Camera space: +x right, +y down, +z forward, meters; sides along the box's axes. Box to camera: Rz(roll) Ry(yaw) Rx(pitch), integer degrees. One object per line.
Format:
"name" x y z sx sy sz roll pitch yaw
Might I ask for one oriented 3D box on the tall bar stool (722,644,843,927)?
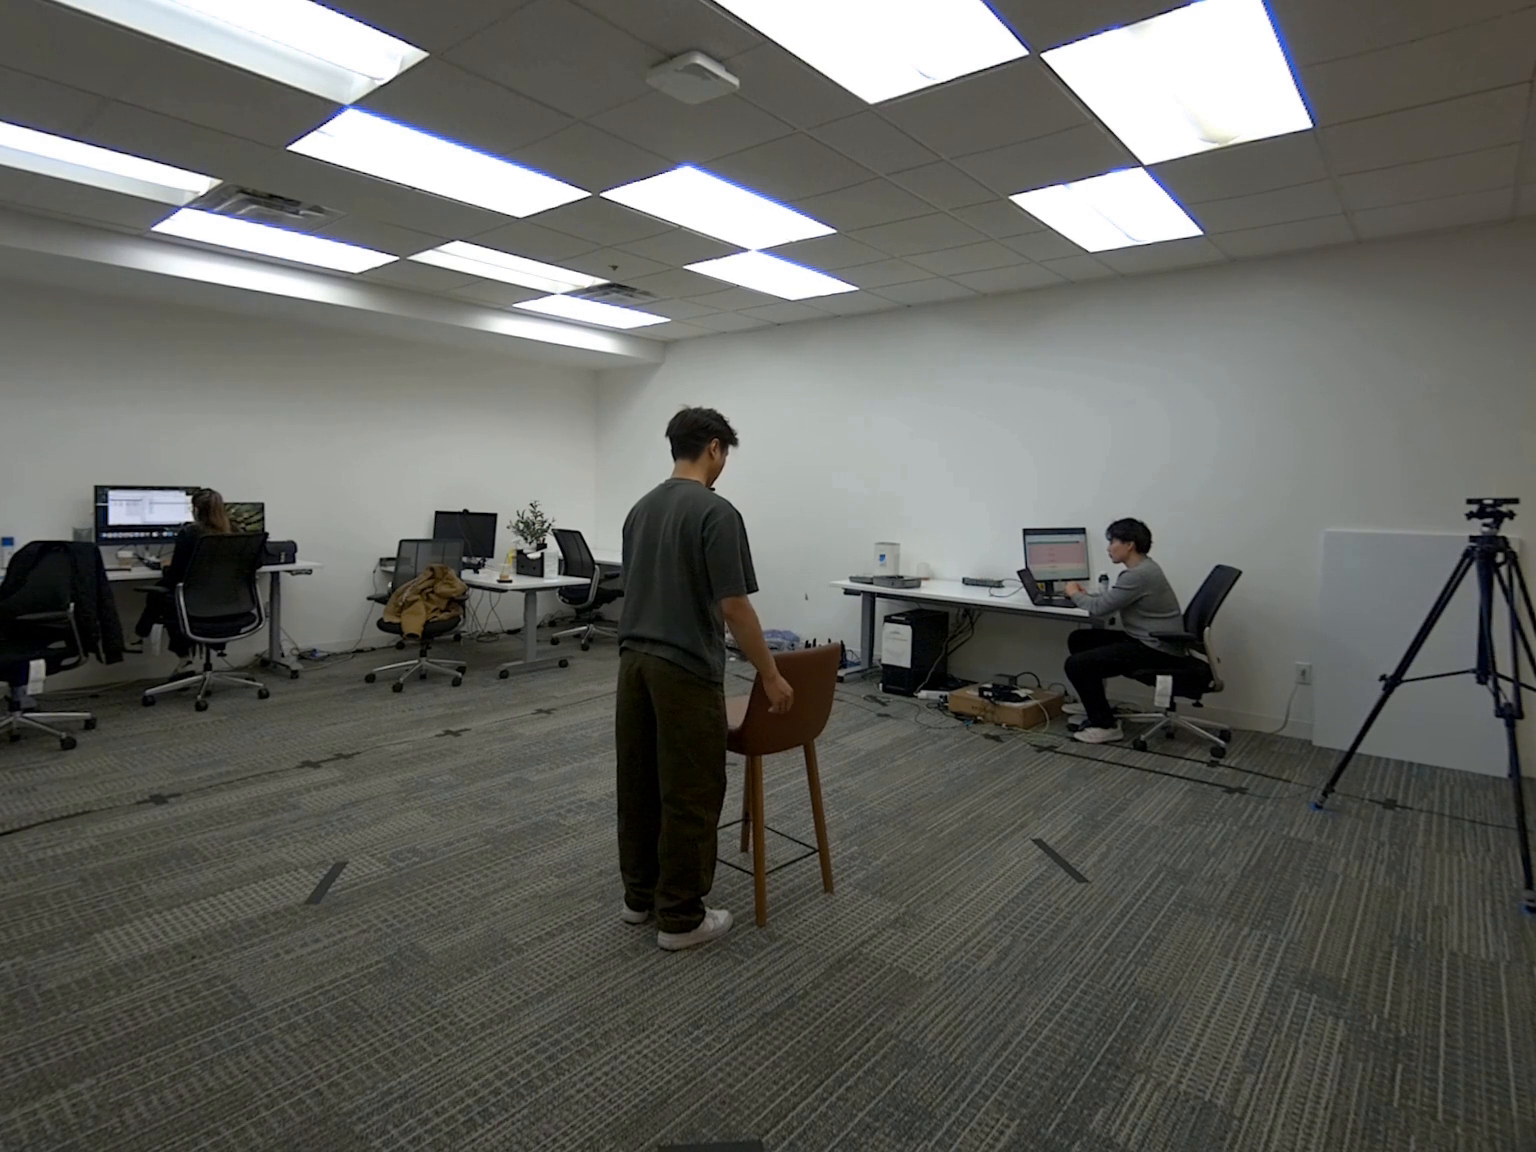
"tall bar stool" -0.050 0.649 2.964 0.484 0.886 0.442 7 6 44
